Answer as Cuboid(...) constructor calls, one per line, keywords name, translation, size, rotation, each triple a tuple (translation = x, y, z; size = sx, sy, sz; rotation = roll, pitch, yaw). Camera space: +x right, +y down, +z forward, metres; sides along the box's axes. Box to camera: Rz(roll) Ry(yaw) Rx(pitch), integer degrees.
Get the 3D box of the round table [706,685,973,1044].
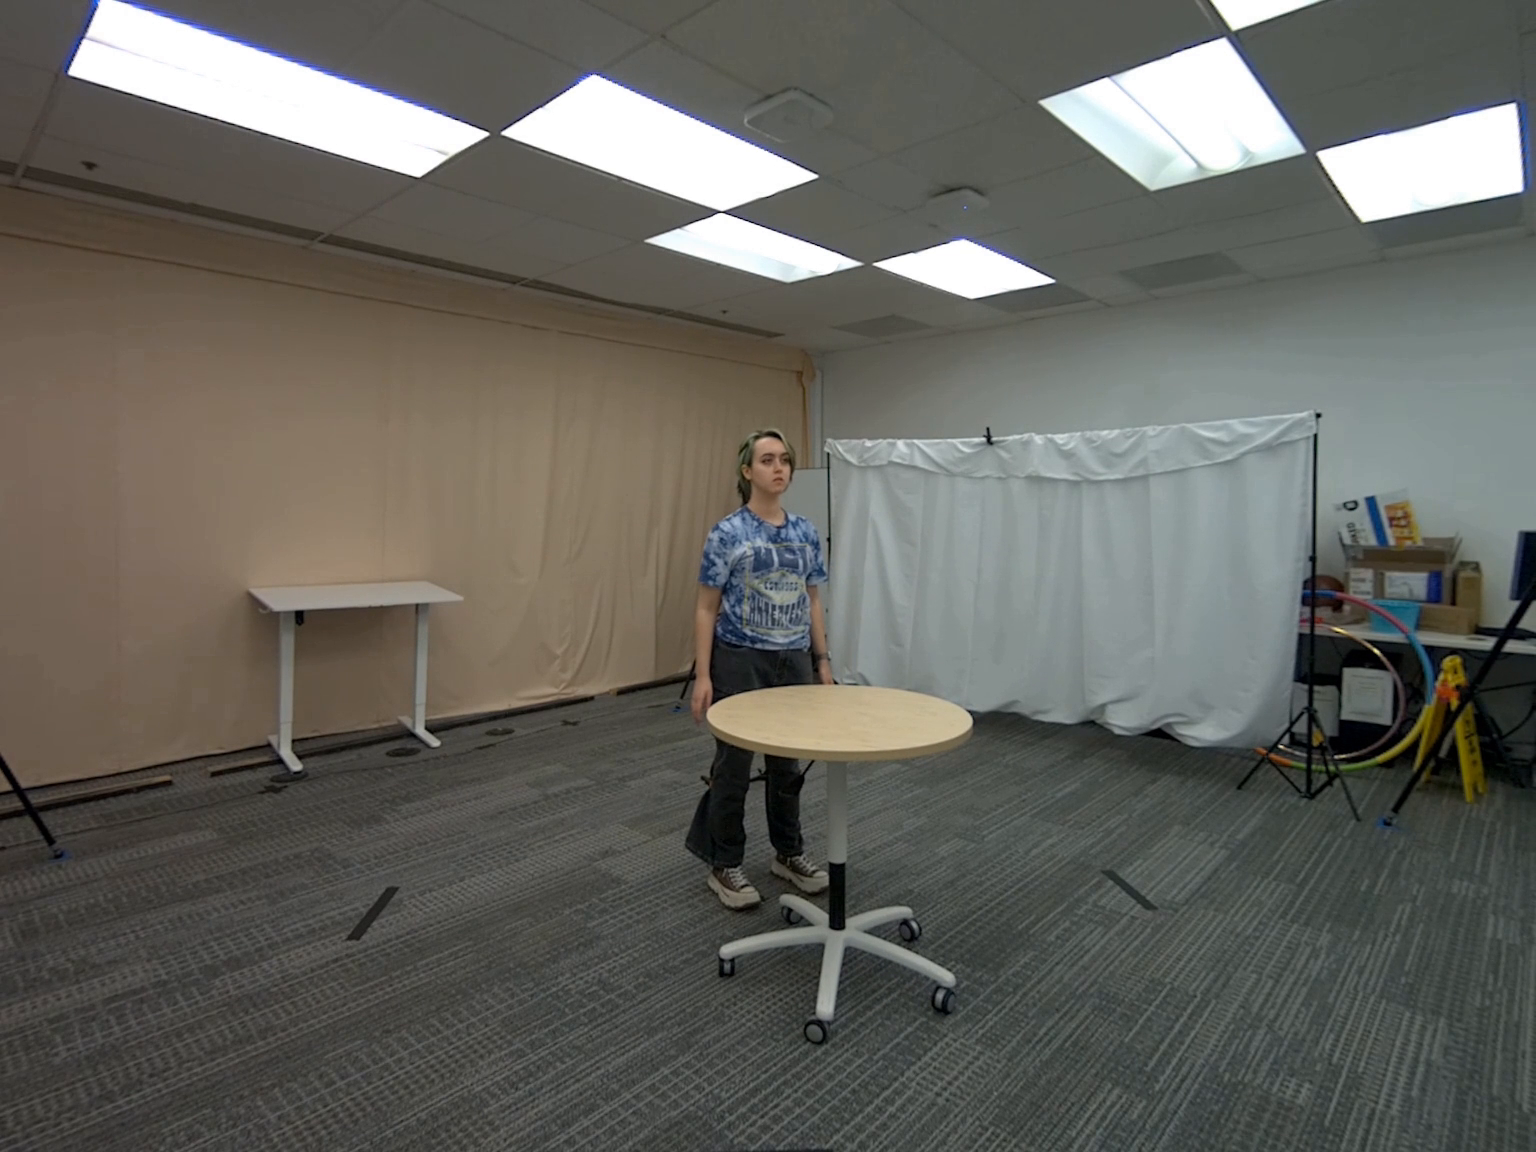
Cuboid(name="round table", translation=(0.209, 0.798, 2.485), size=(0.763, 0.792, 0.767), rotation=(0, 4, -2))
